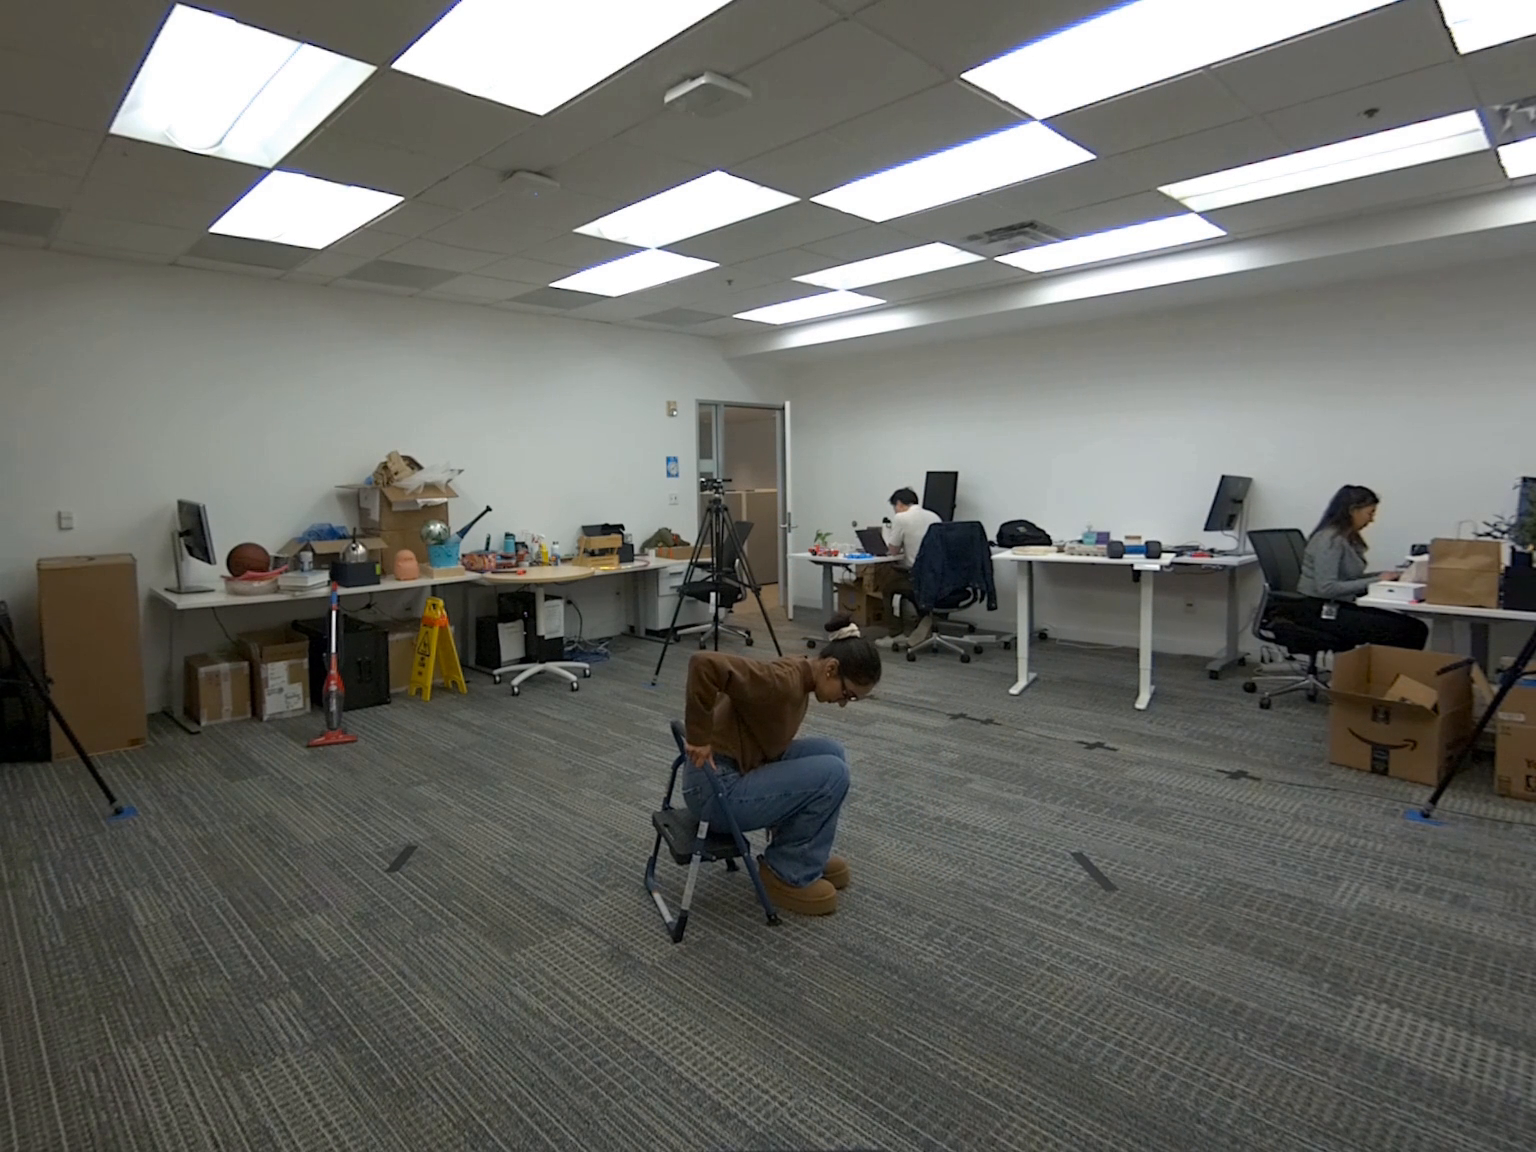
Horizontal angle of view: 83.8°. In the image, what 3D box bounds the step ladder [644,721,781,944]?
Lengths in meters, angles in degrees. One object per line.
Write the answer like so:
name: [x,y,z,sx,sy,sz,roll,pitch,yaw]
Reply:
step ladder: [-0.200,0.784,2.801,0.343,0.603,0.440,-3,5,-21]
